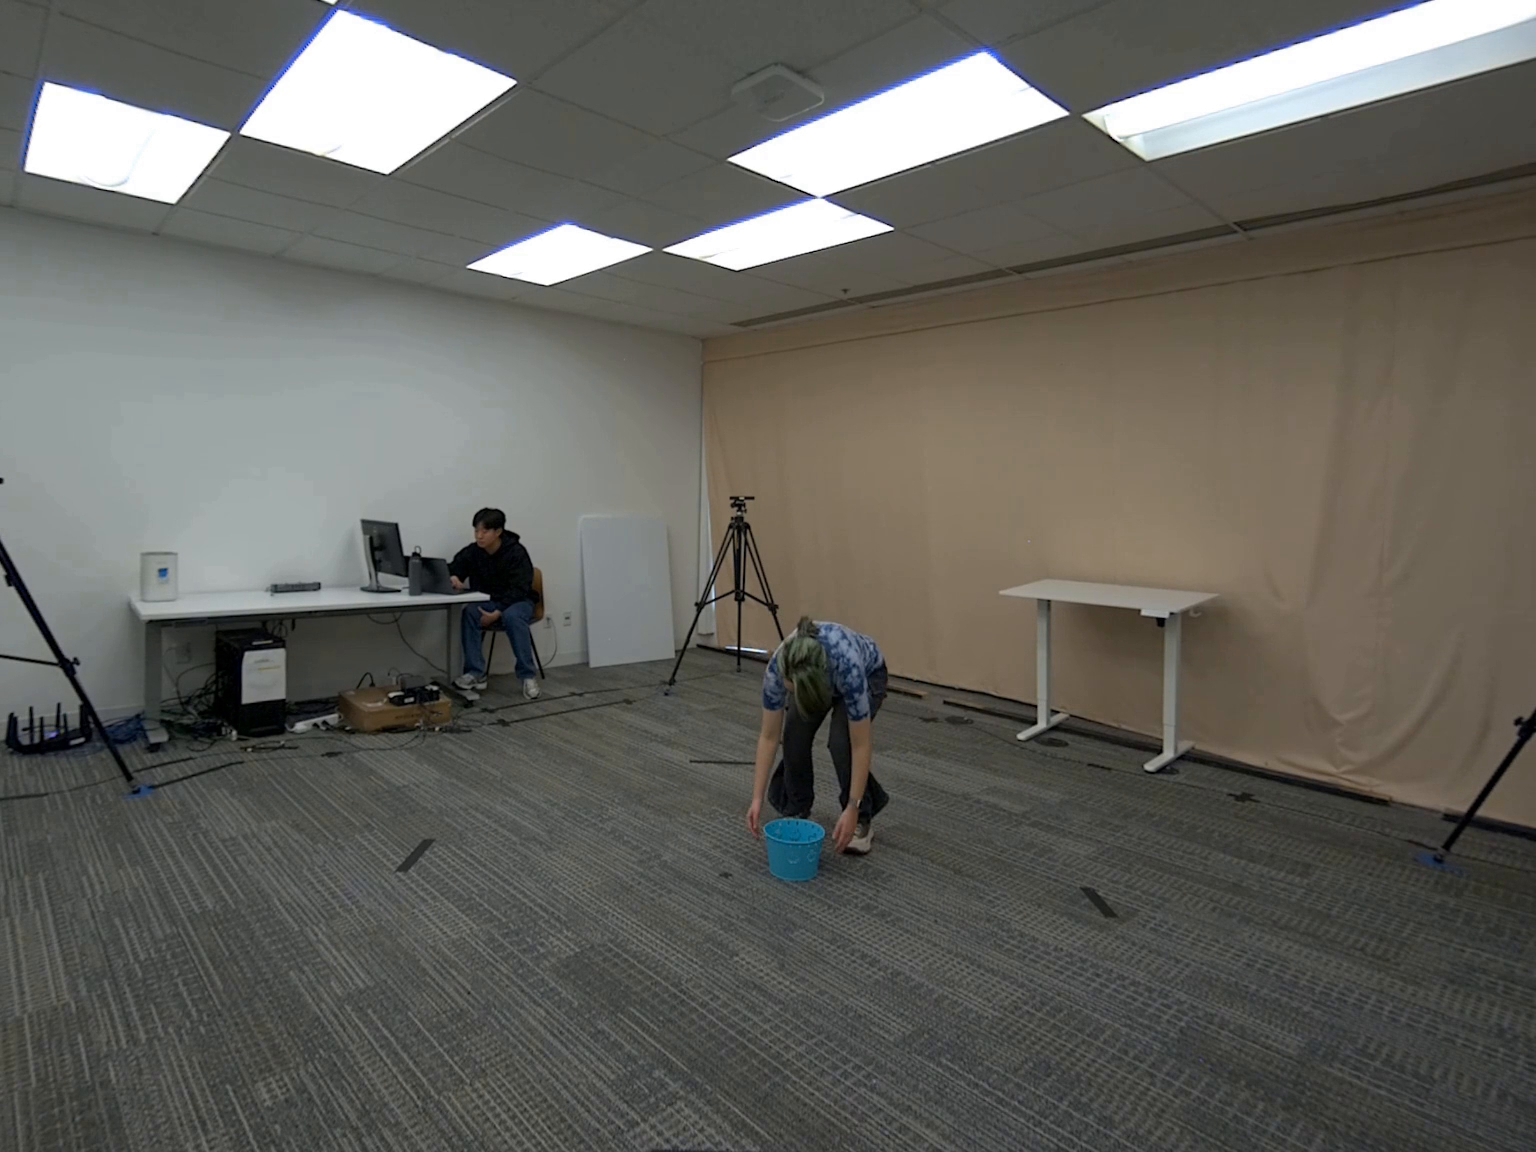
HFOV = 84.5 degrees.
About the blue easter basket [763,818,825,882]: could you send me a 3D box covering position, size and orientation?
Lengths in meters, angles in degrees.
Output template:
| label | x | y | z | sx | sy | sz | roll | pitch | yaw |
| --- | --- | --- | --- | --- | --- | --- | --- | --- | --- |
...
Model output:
| label | x | y | z | sx | sy | sz | roll | pitch | yaw |
| --- | --- | --- | --- | --- | --- | --- | --- | --- | --- |
| blue easter basket | 0.090 | 1.027 | 3.155 | 0.243 | 0.155 | 0.244 | 2 | 5 | -1 |
